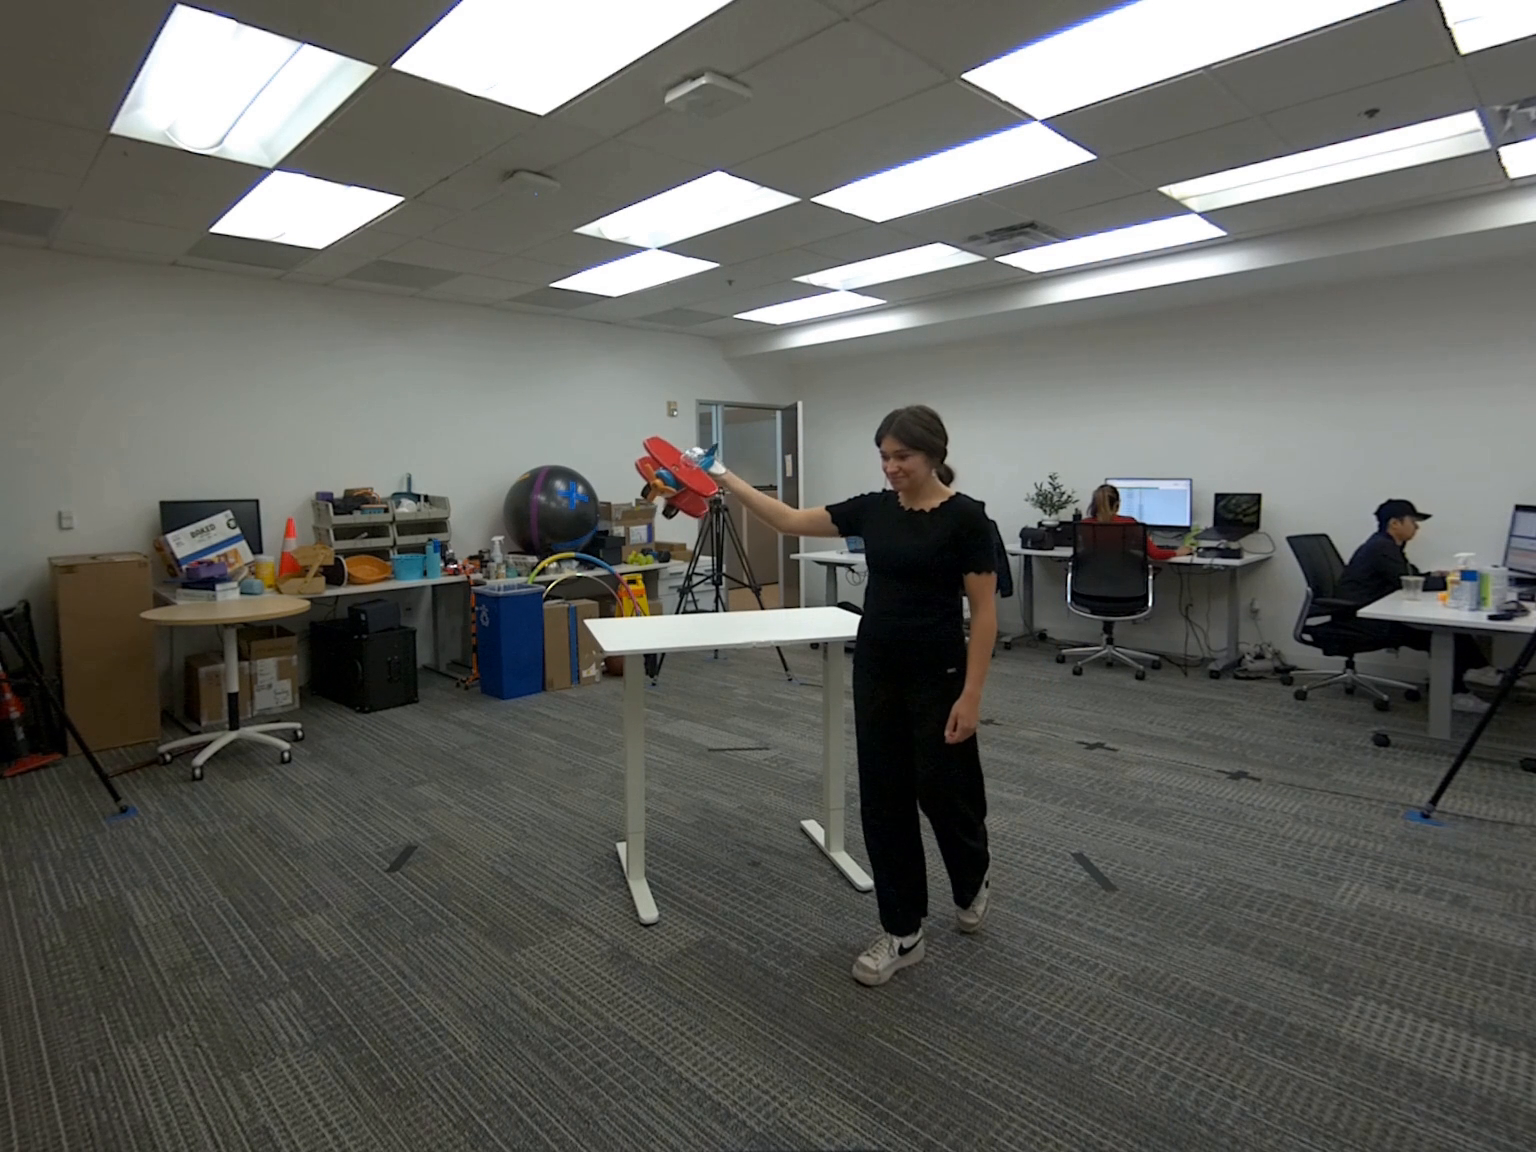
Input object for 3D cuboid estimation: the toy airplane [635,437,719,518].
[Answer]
[{"bbox_3d":[-0.244,-0.302,2.429,0.250,0.264,0.154,18,-37,-3],"label":"toy airplane"}]
